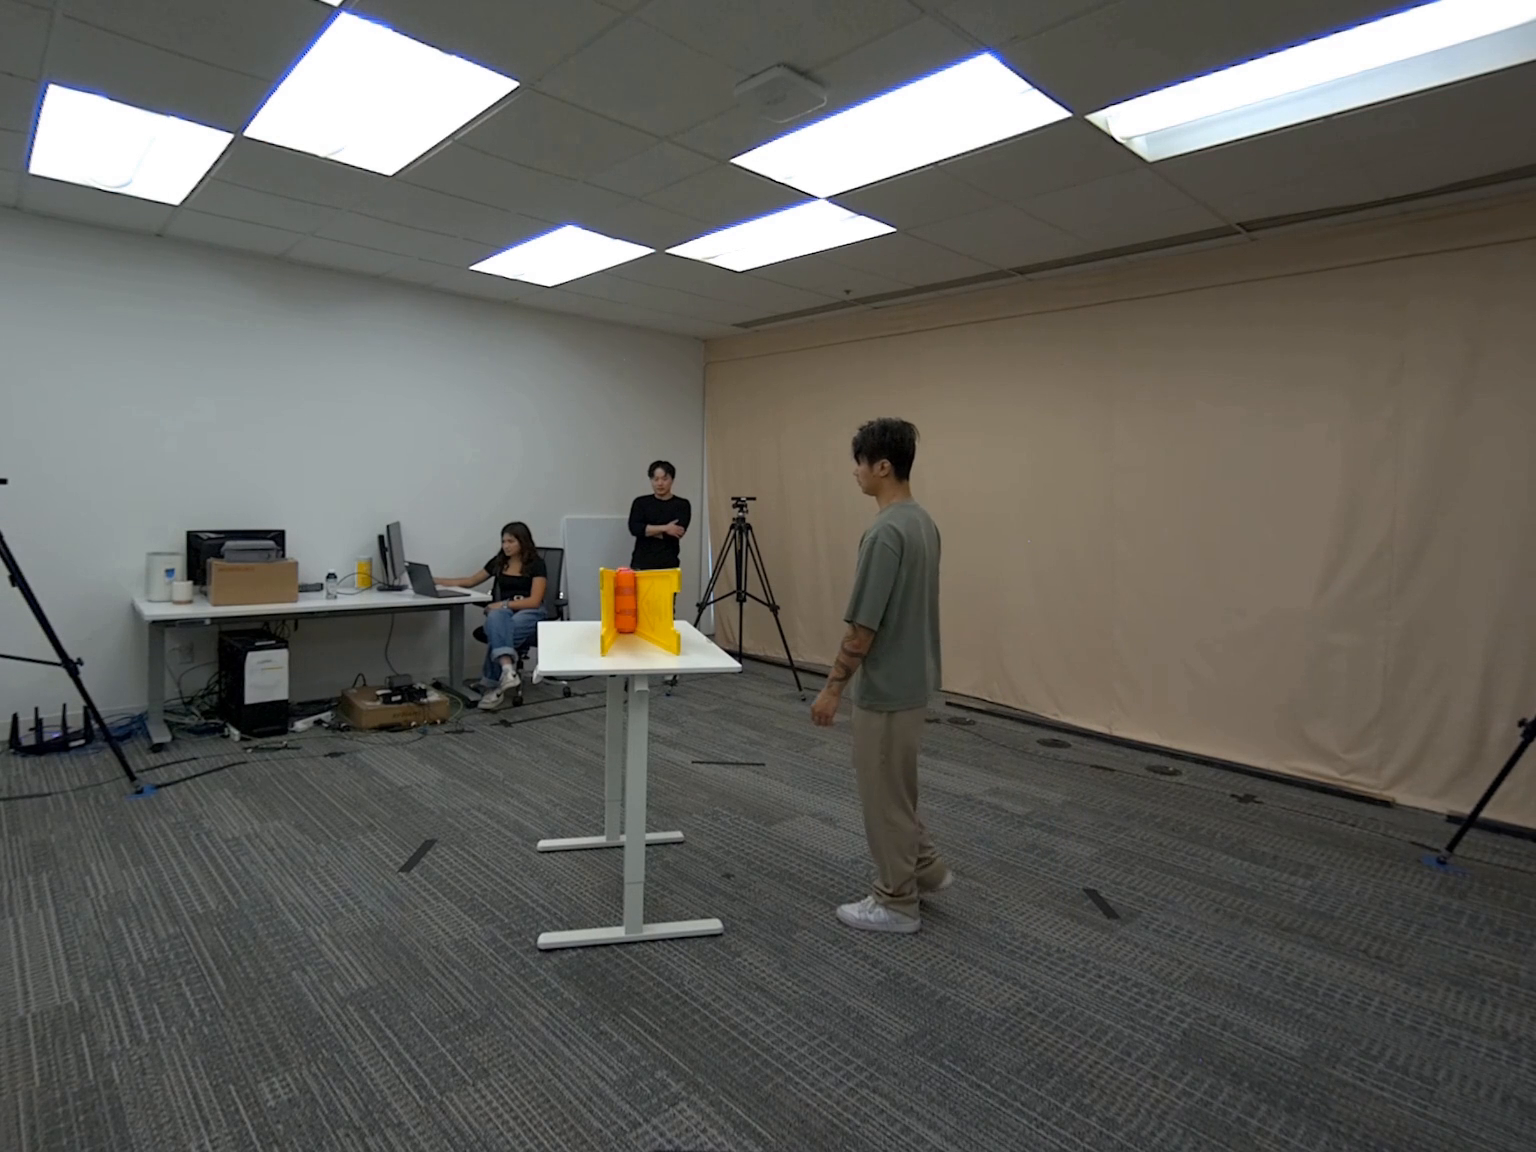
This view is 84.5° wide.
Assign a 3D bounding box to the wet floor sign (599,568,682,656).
[{"bbox_3d":[-0.499,0.106,2.990,0.286,0.282,0.653,1,2,-15],"label":"wet floor sign"}]
